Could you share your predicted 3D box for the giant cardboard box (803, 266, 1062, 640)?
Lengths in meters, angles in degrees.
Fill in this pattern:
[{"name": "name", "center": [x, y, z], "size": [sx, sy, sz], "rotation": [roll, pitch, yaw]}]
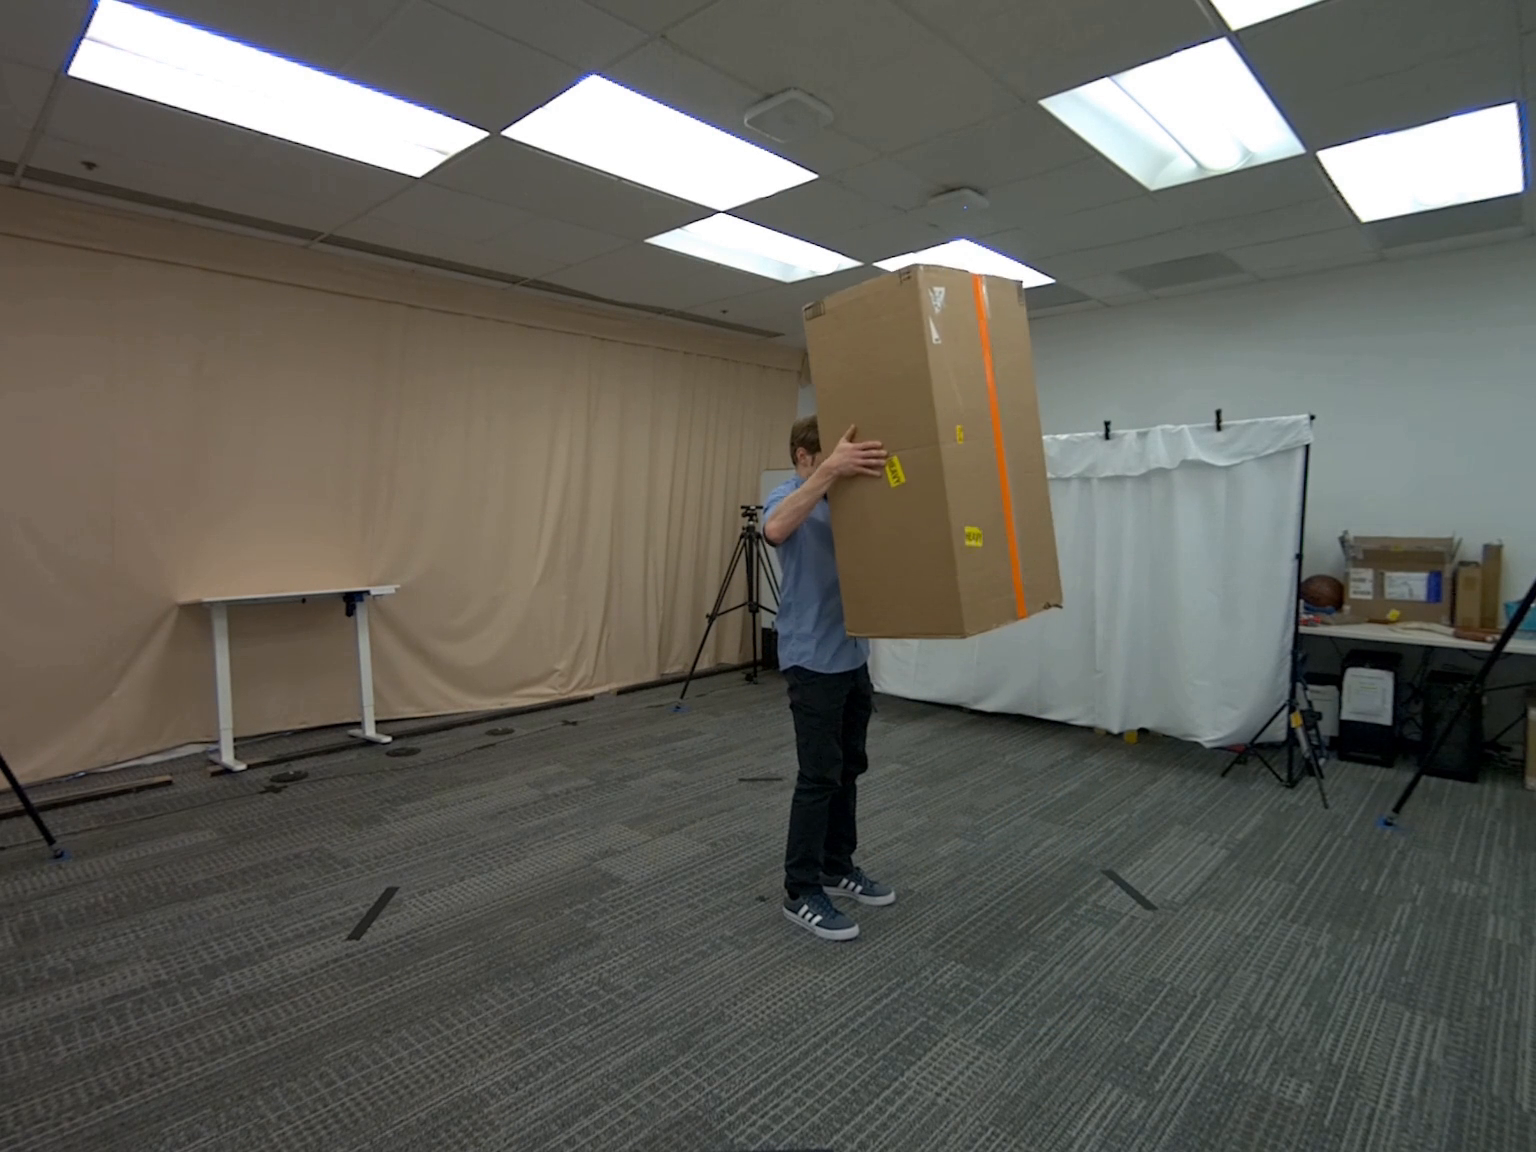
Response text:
[{"name": "giant cardboard box", "center": [0.526, -0.361, 2.597], "size": [0.561, 1.025, 0.439], "rotation": [-10, 2, -42]}]
